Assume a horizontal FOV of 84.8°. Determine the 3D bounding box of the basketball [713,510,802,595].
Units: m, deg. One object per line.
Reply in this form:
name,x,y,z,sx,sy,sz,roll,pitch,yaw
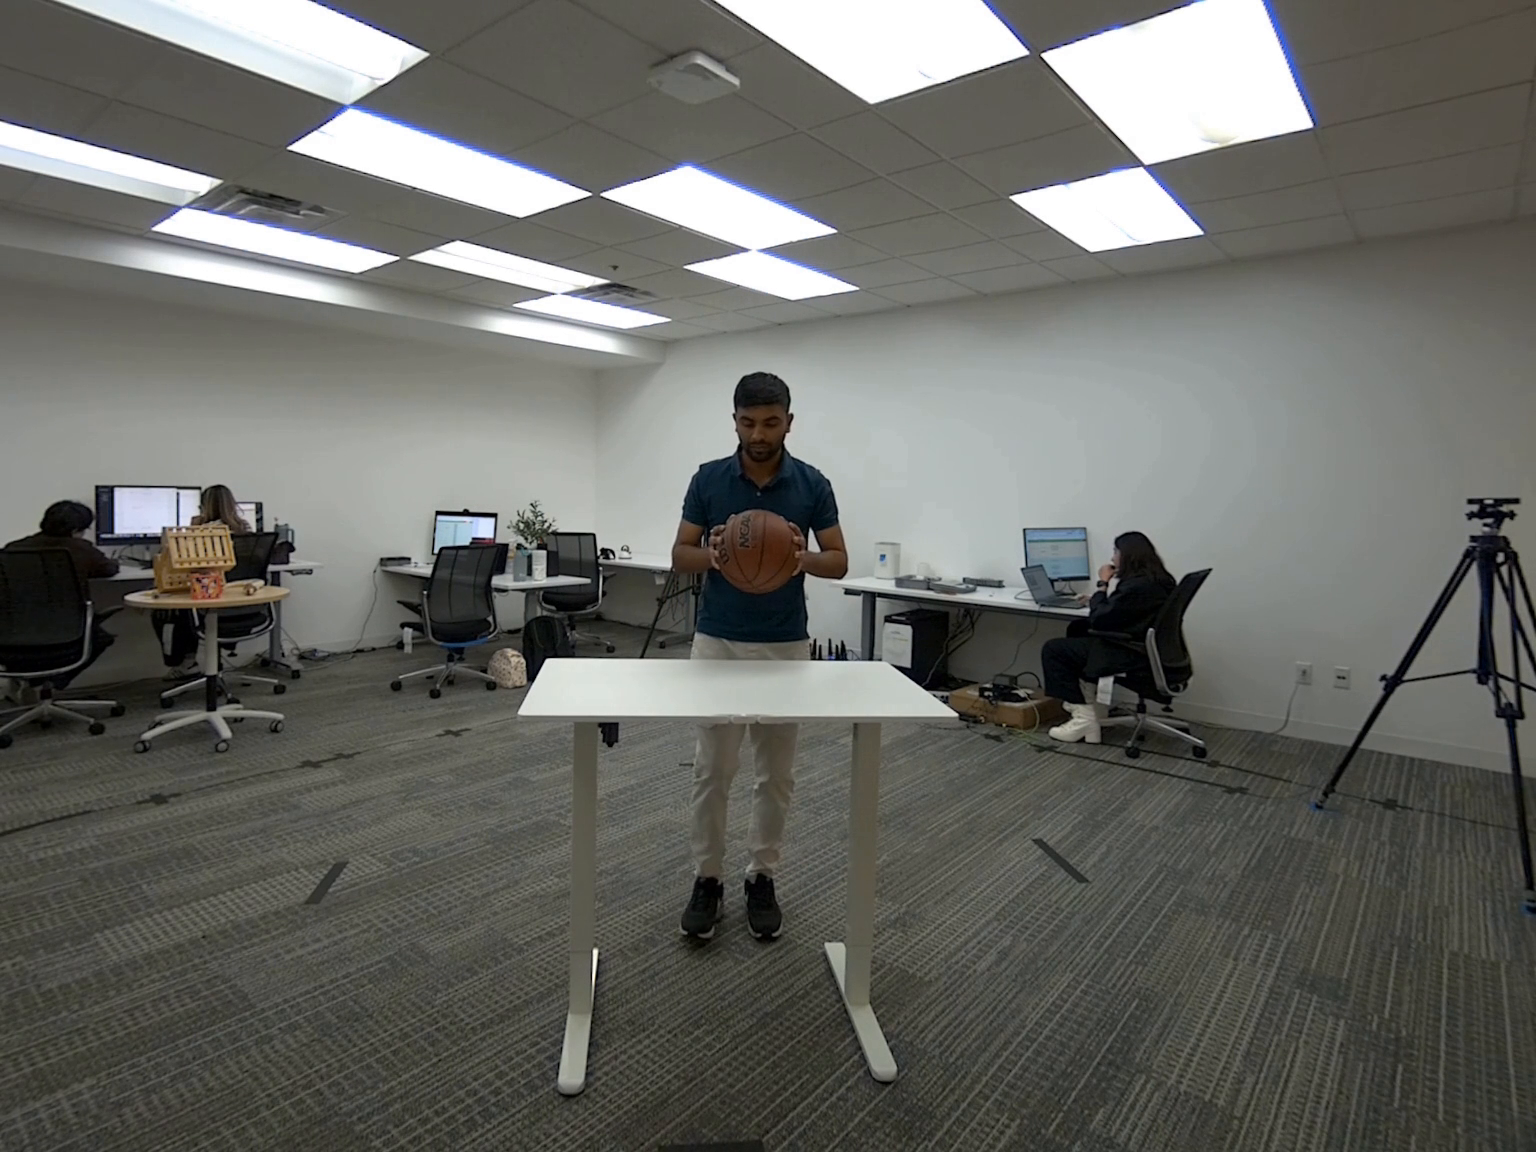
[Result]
basketball,-0.040,-0.075,2.432,0.235,0.235,0.237,1,4,-2
